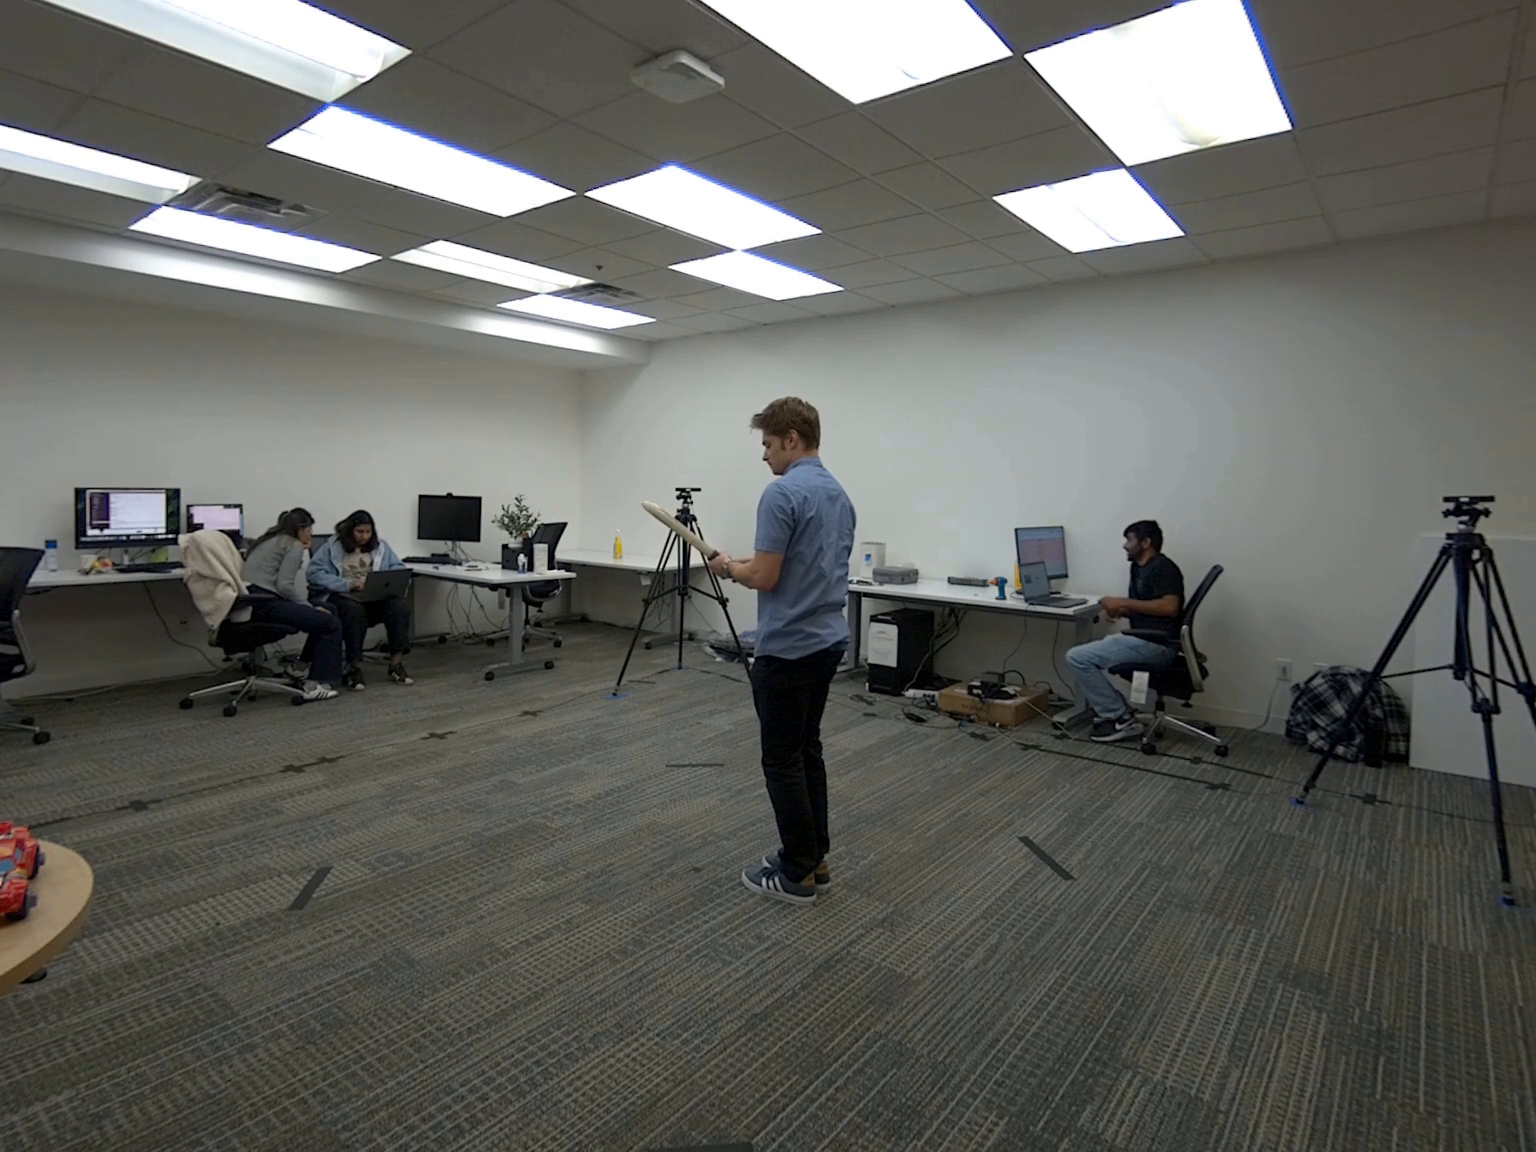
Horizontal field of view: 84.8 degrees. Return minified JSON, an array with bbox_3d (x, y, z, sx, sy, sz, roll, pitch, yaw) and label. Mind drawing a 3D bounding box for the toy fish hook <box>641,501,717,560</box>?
[{"bbox_3d":[-0.281,-0.117,3.120,0.508,0.048,0.224,41,-3,1],"label":"toy fish hook"}]
